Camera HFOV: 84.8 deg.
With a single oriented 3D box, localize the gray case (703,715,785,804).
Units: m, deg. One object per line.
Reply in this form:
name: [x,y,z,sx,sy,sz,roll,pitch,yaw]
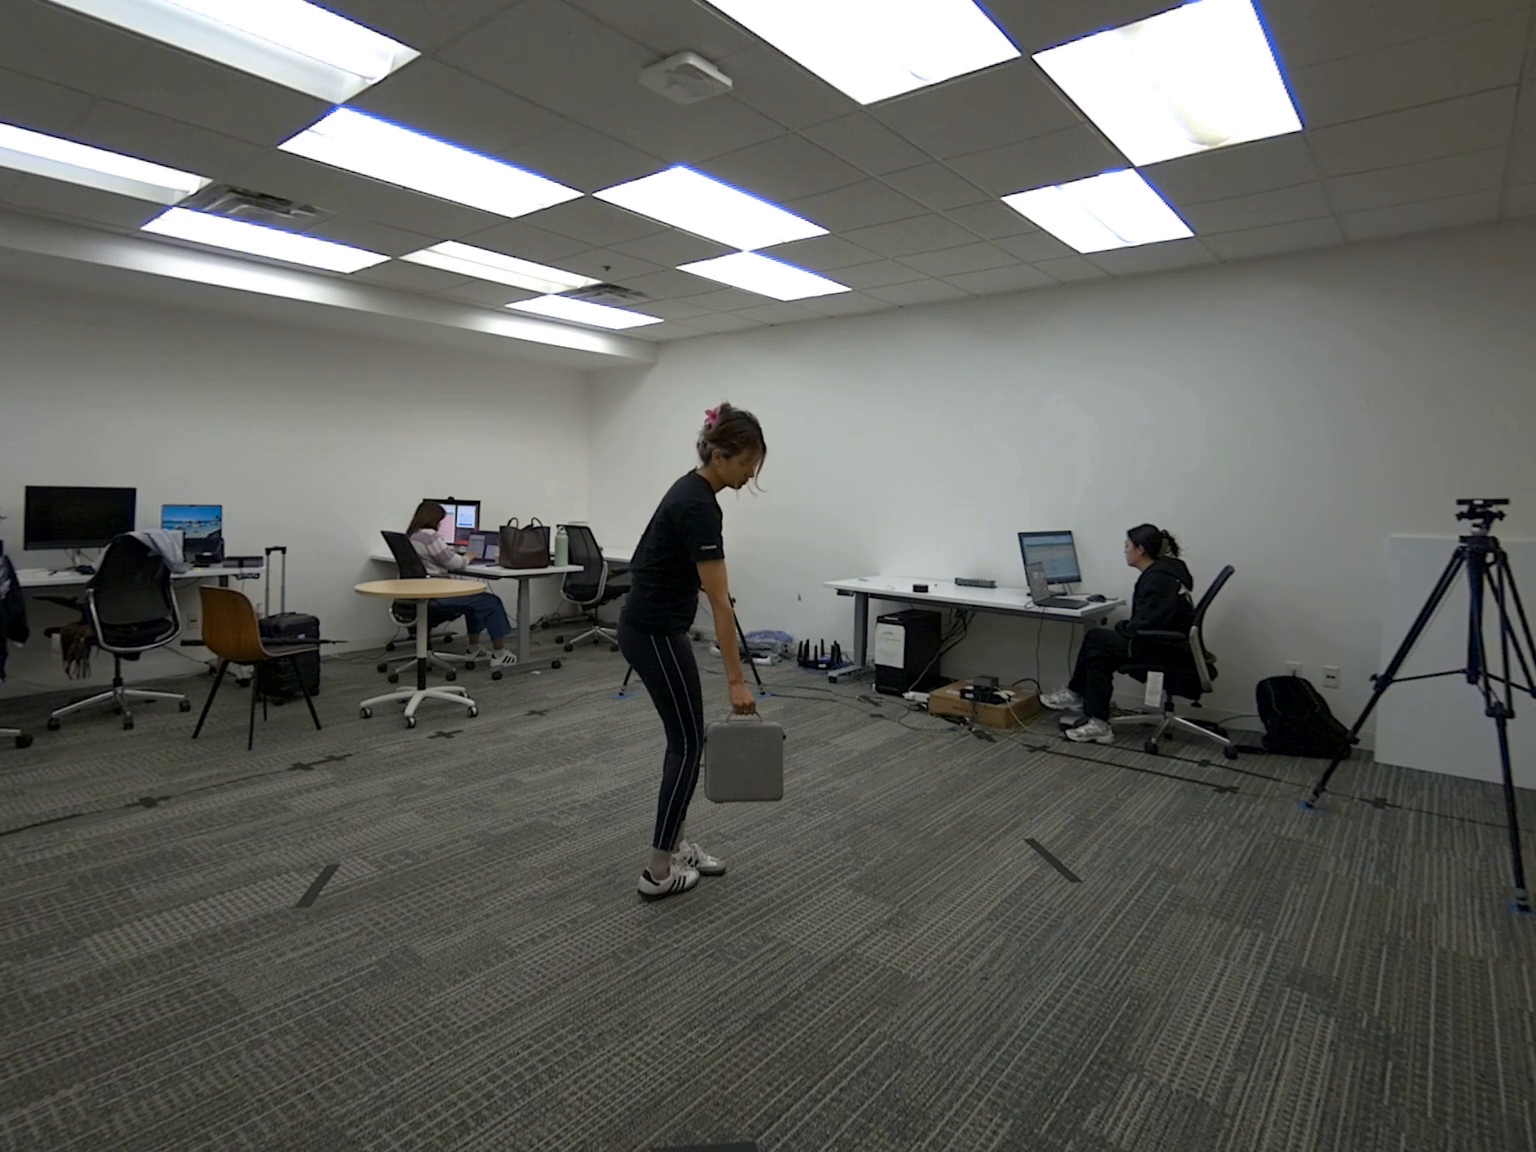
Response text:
gray case: [-0.083,0.593,2.768,0.256,0.262,0.104,-1,-6,-4]
